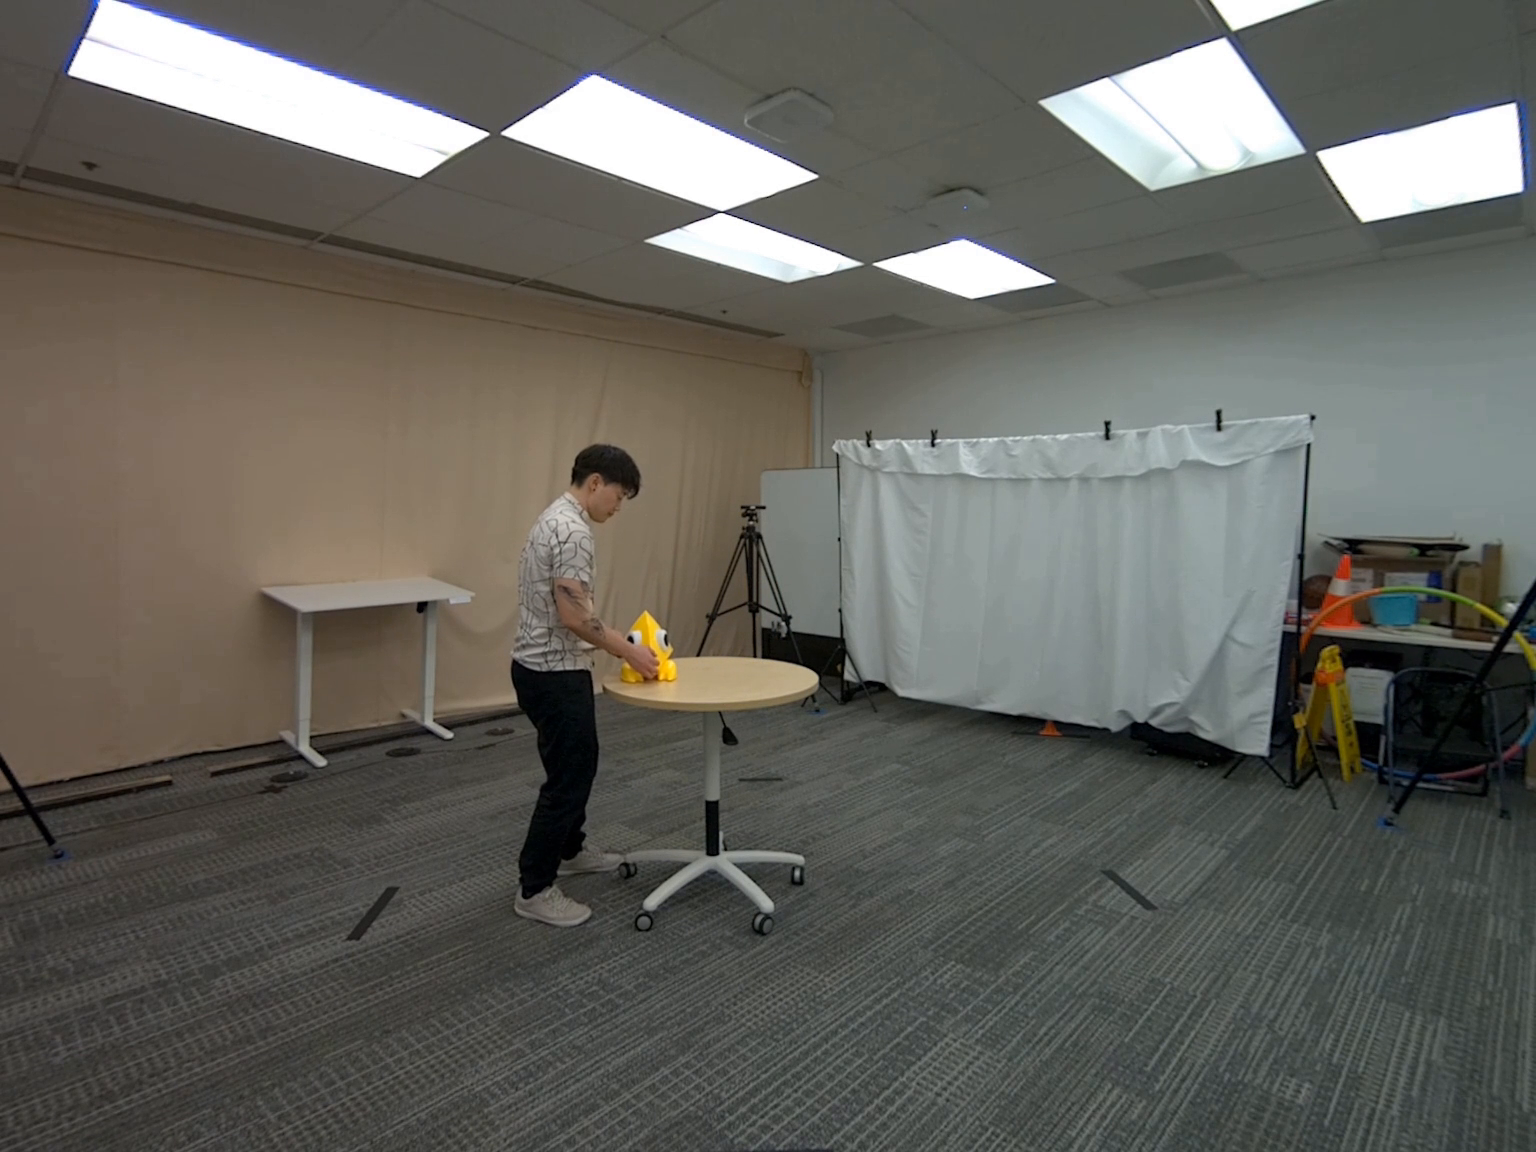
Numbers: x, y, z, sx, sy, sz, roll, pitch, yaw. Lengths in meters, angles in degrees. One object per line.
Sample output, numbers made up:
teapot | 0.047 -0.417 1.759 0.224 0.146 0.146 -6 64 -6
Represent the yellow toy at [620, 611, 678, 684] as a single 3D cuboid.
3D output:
yellow toy | -0.423 0.247 2.999 0.202 0.230 0.196 -2 4 -14
